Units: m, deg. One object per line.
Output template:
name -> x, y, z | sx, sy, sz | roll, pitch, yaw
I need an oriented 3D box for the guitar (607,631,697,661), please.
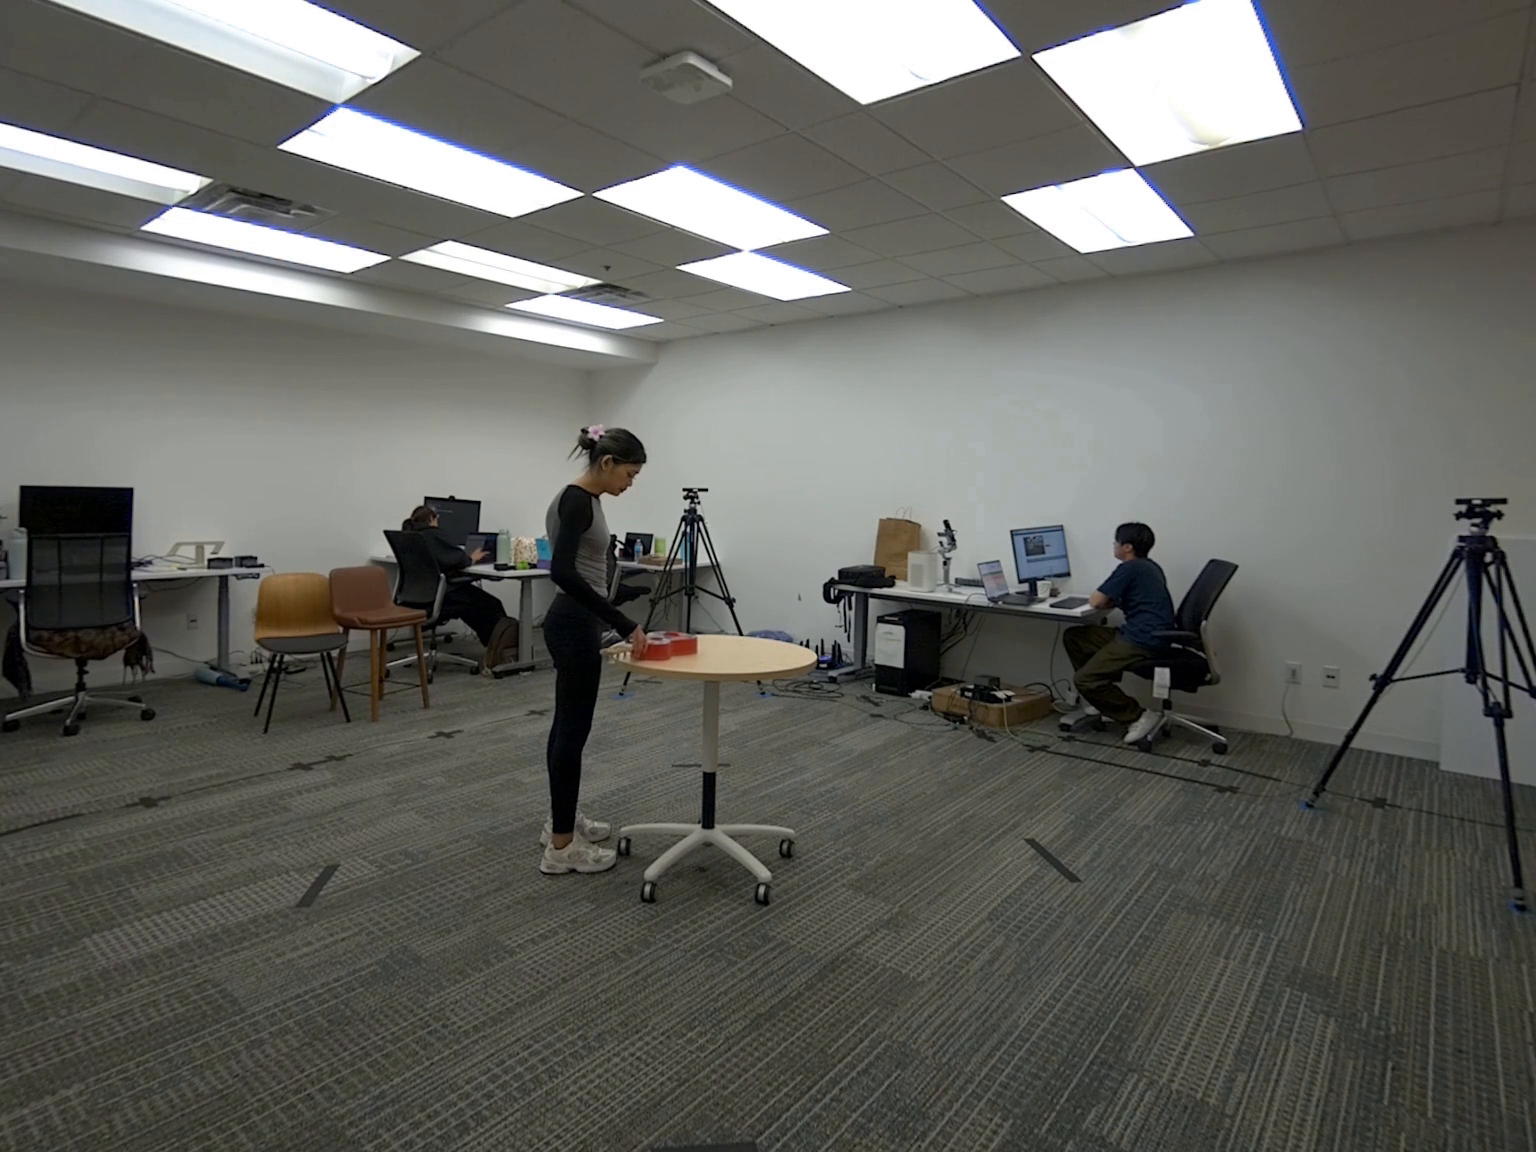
guitar -> -0.461, 0.253, 2.962 | 0.199, 0.070, 0.485 | 3, 6, 31
